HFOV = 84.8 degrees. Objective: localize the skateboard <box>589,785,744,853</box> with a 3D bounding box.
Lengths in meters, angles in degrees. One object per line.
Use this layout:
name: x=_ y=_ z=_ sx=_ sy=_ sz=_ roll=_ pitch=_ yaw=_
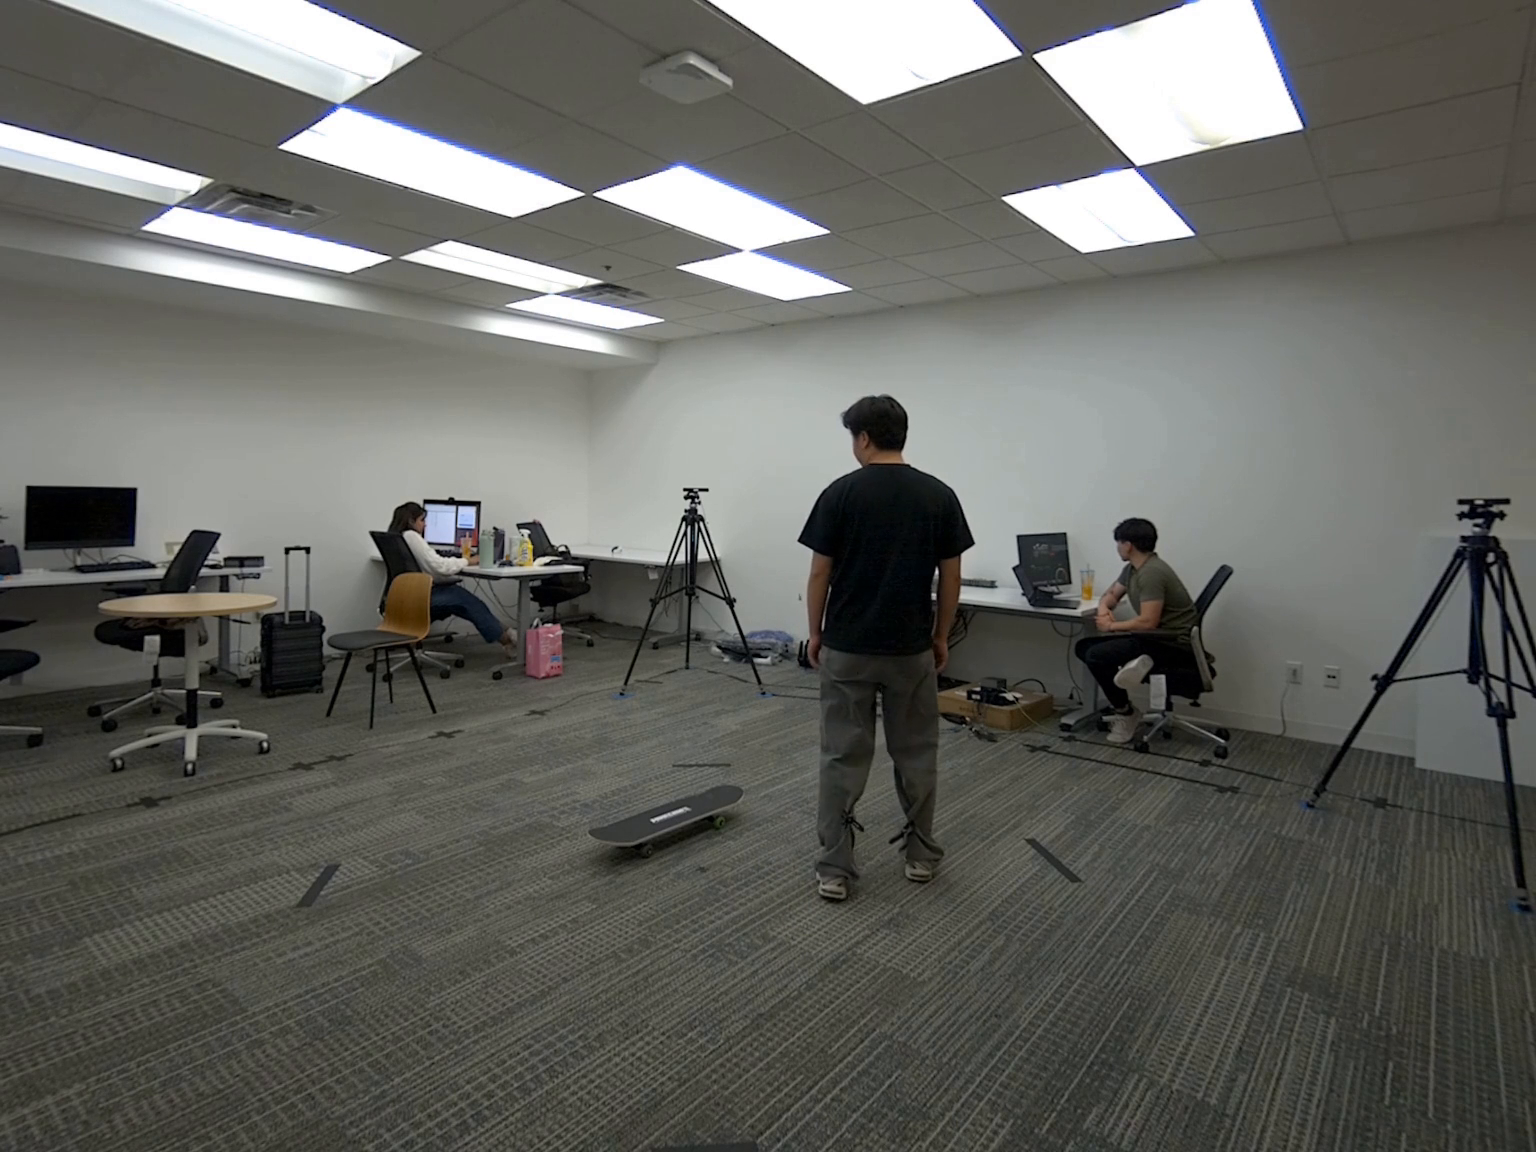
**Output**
skateboard: x=-0.395 y=0.984 z=3.399 sx=0.200 sy=0.110 sz=0.762 roll=6 pitch=8 yaw=42
